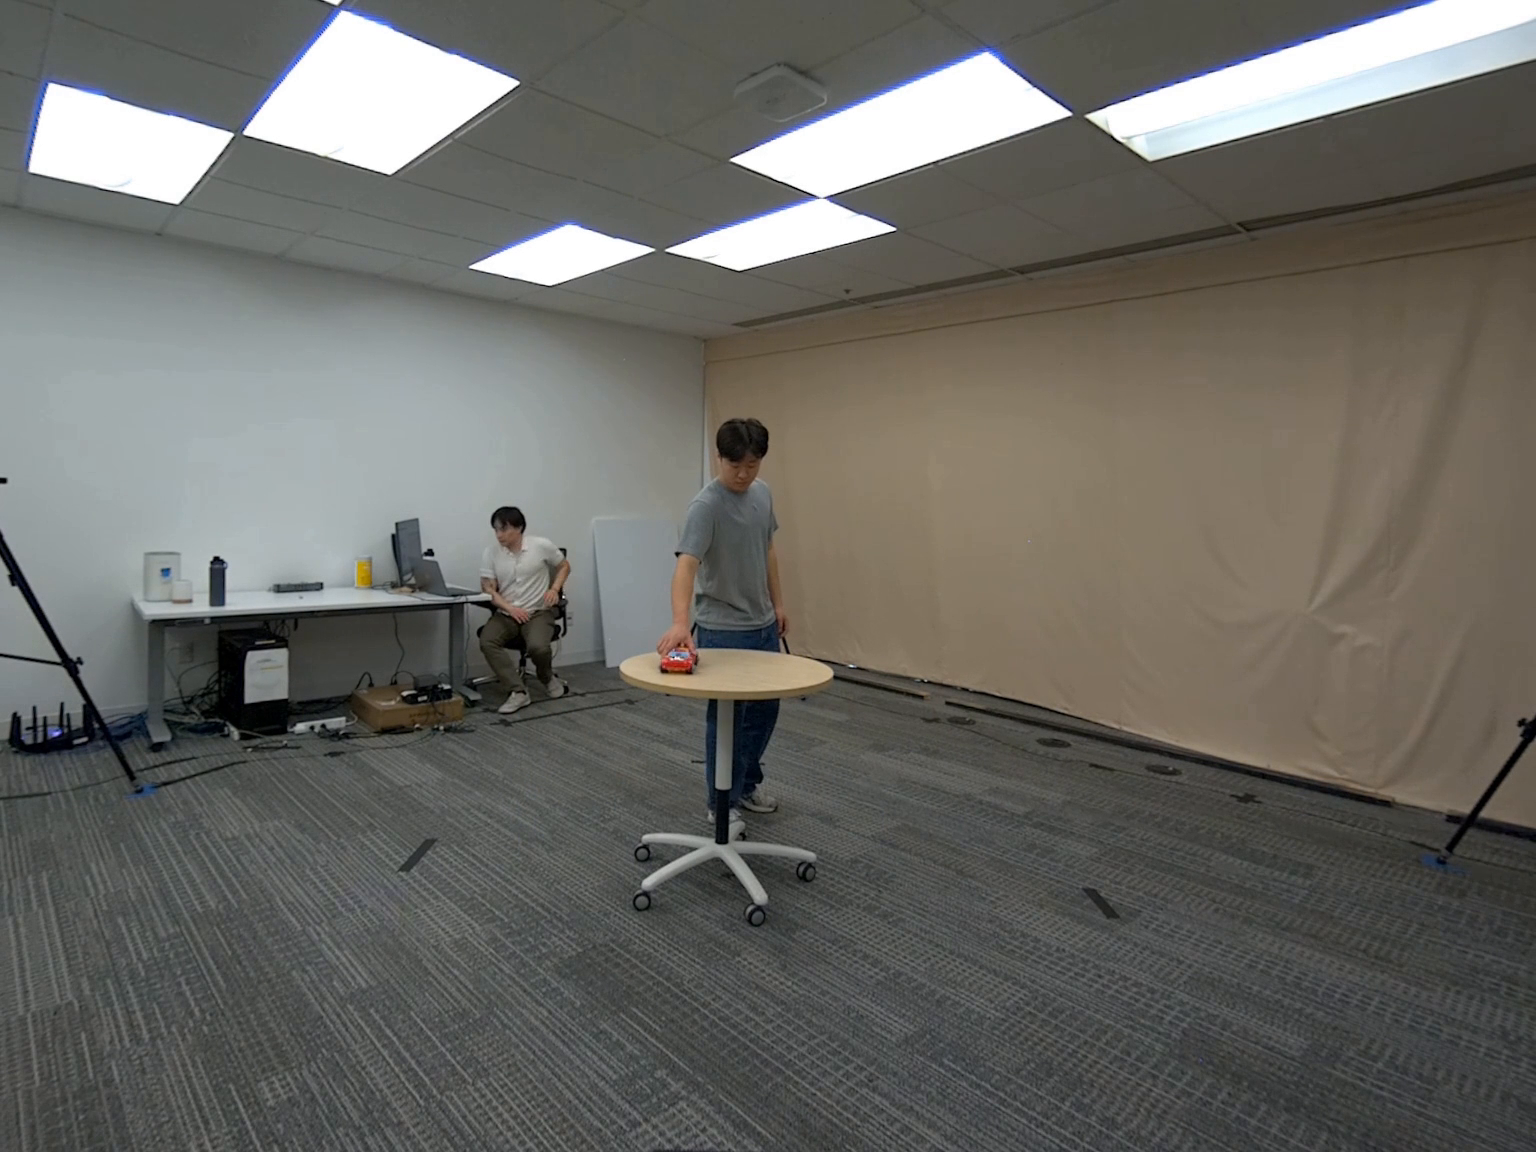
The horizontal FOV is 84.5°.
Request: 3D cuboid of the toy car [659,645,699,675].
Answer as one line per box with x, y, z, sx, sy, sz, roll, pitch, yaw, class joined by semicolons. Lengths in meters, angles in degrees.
-0.323;0.297;2.988;0.130;0.082;0.257;1;16;-1;toy car
